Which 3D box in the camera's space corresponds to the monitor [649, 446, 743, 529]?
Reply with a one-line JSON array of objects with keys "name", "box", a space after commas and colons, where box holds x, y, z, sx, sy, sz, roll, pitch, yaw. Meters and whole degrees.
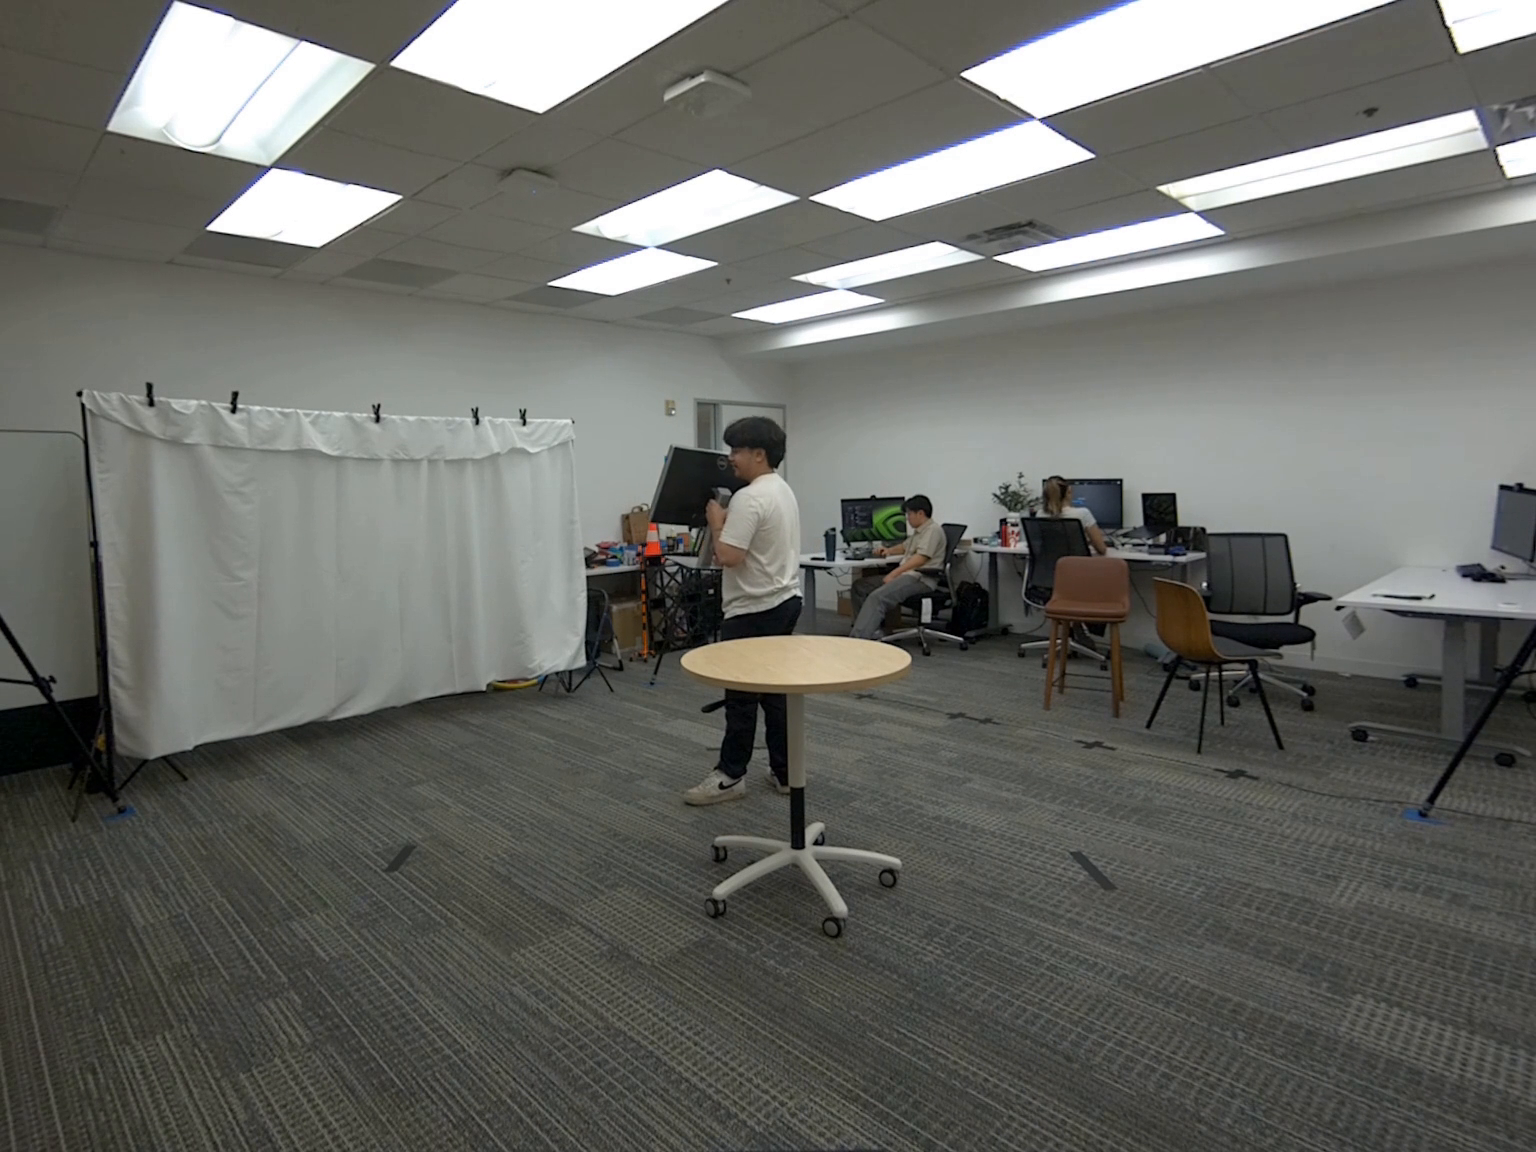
[{"name": "monitor", "box": [-0.242, -0.287, 3.861, 0.548, 0.550, 0.218, 4, 17, -45]}]
